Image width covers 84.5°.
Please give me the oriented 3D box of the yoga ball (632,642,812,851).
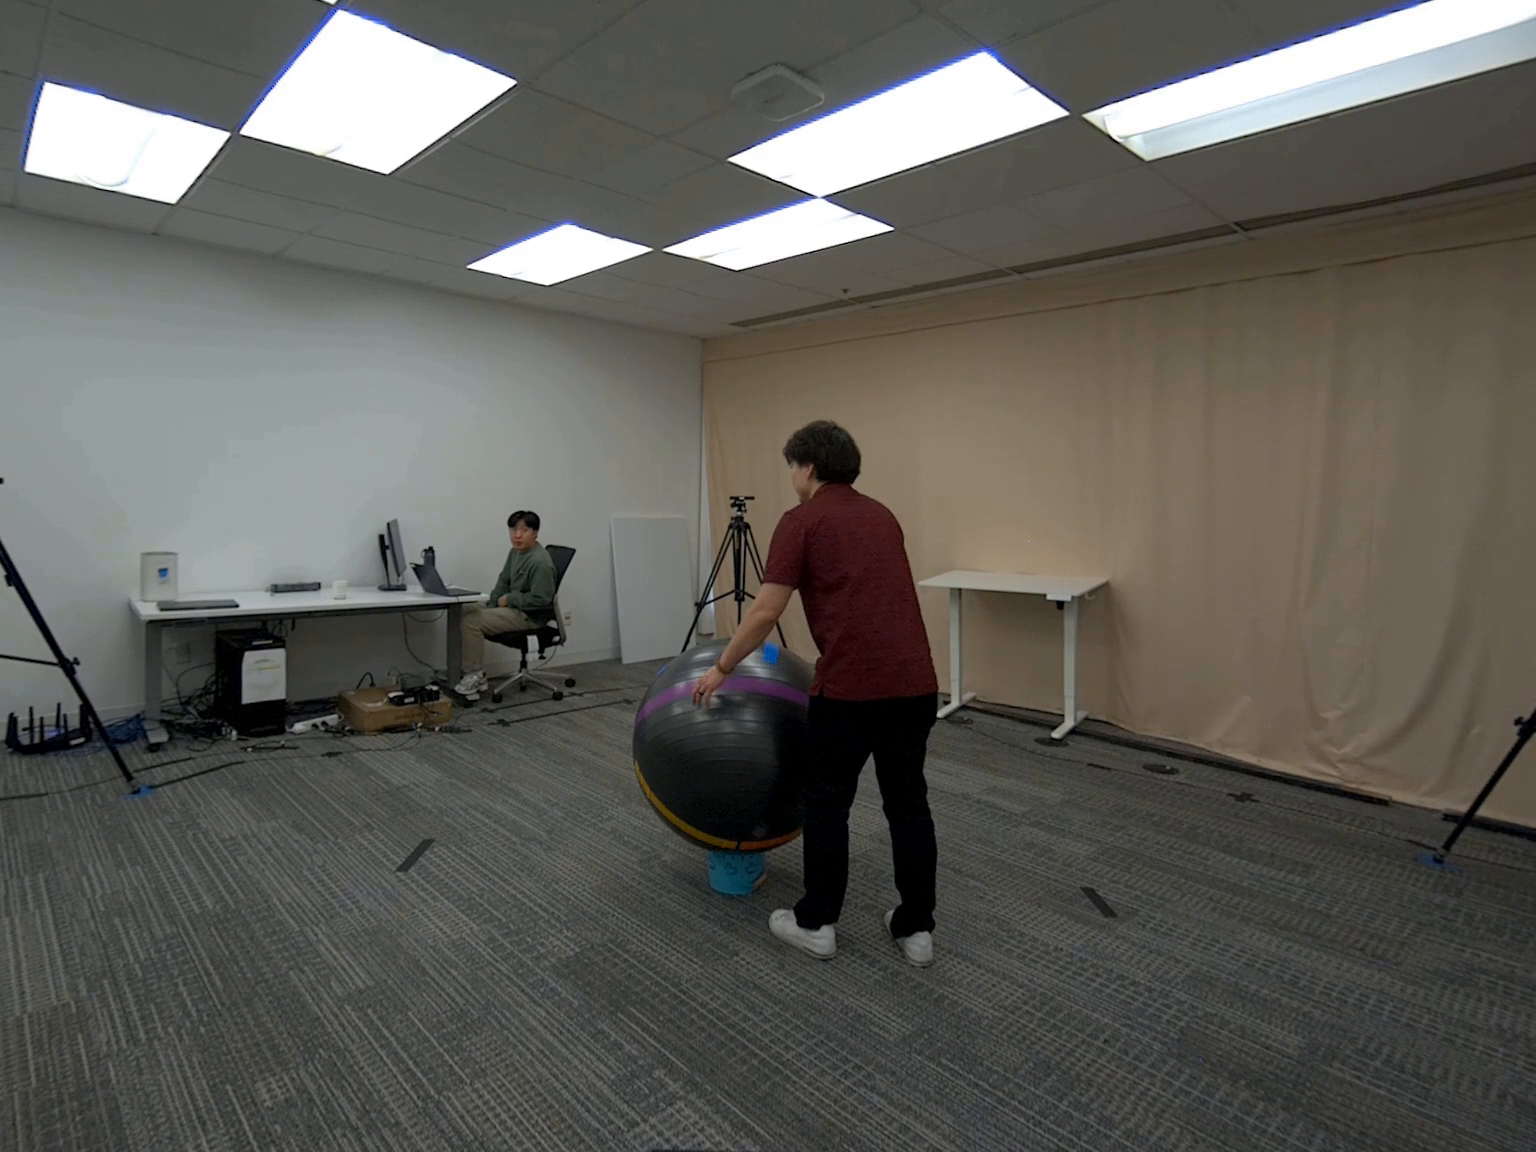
[{"bbox_3d":[-0.110,0.603,3.033,0.757,0.756,0.761,1,4,-1],"label":"yoga ball"}]
